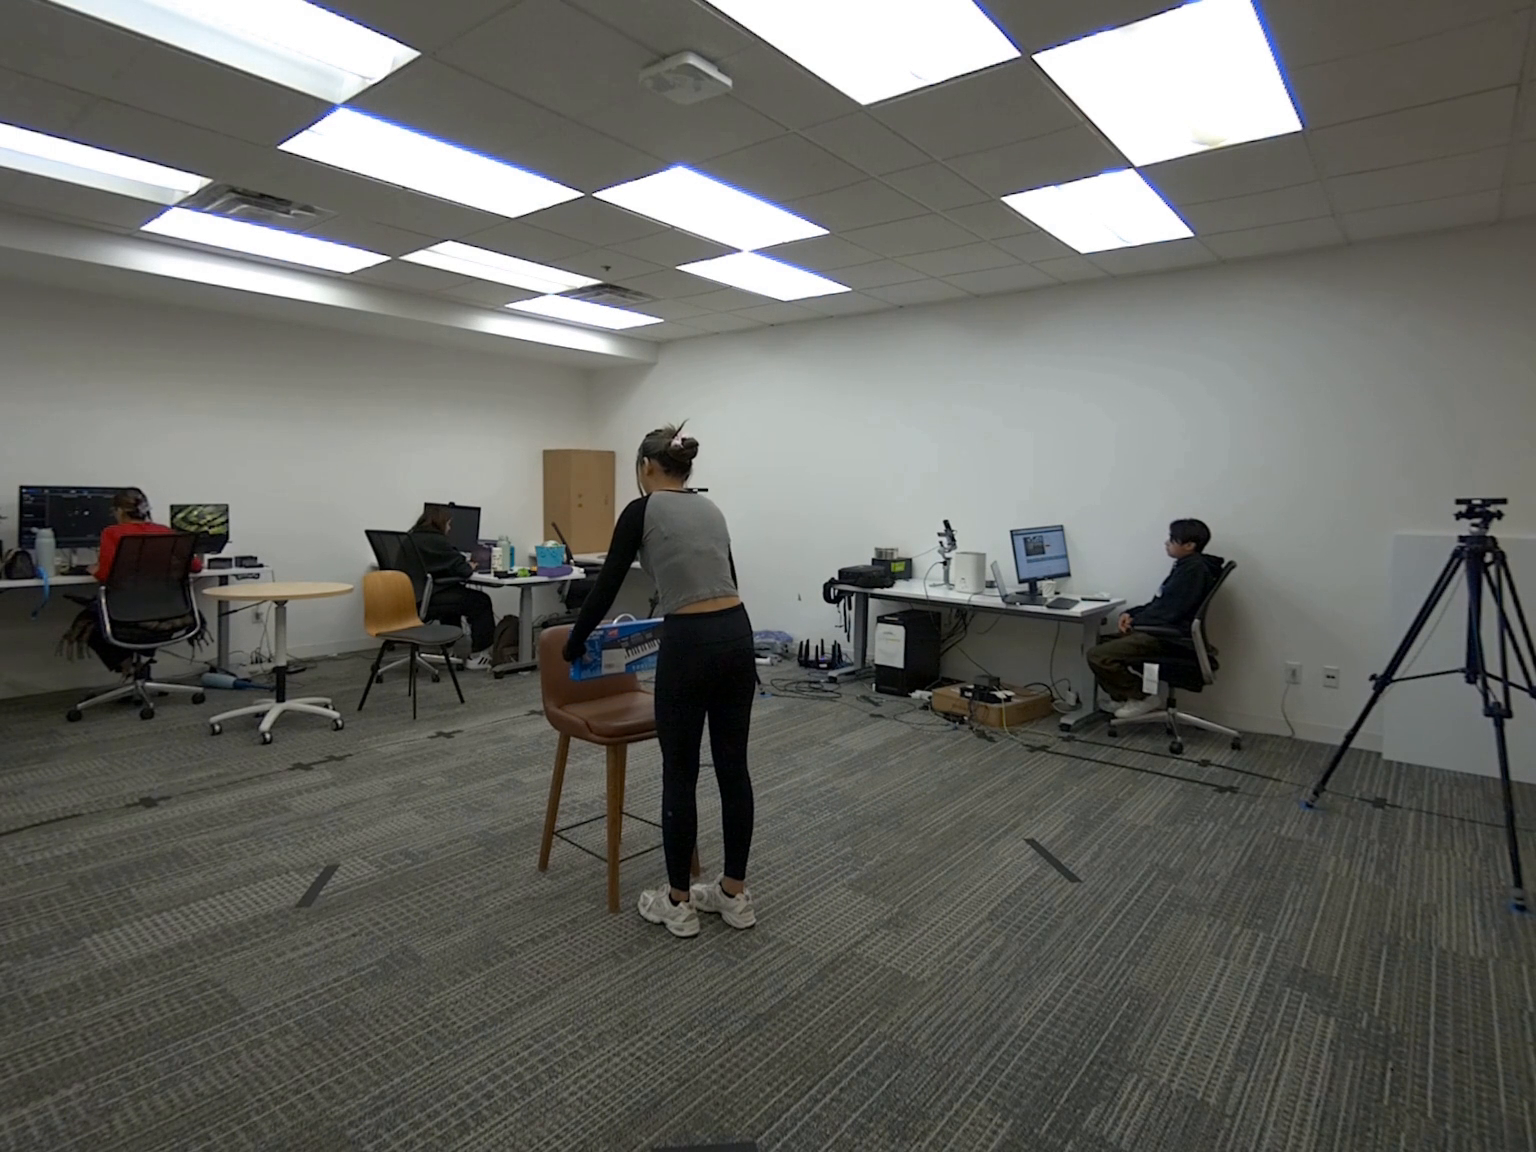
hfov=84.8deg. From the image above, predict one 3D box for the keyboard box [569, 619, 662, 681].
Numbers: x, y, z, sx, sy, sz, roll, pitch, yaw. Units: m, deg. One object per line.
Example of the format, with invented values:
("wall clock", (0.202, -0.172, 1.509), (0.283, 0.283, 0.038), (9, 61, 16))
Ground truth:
("keyboard box", (-0.518, 0.256, 3.022), (0.061, 0.175, 0.424), (2, 4, 44))
